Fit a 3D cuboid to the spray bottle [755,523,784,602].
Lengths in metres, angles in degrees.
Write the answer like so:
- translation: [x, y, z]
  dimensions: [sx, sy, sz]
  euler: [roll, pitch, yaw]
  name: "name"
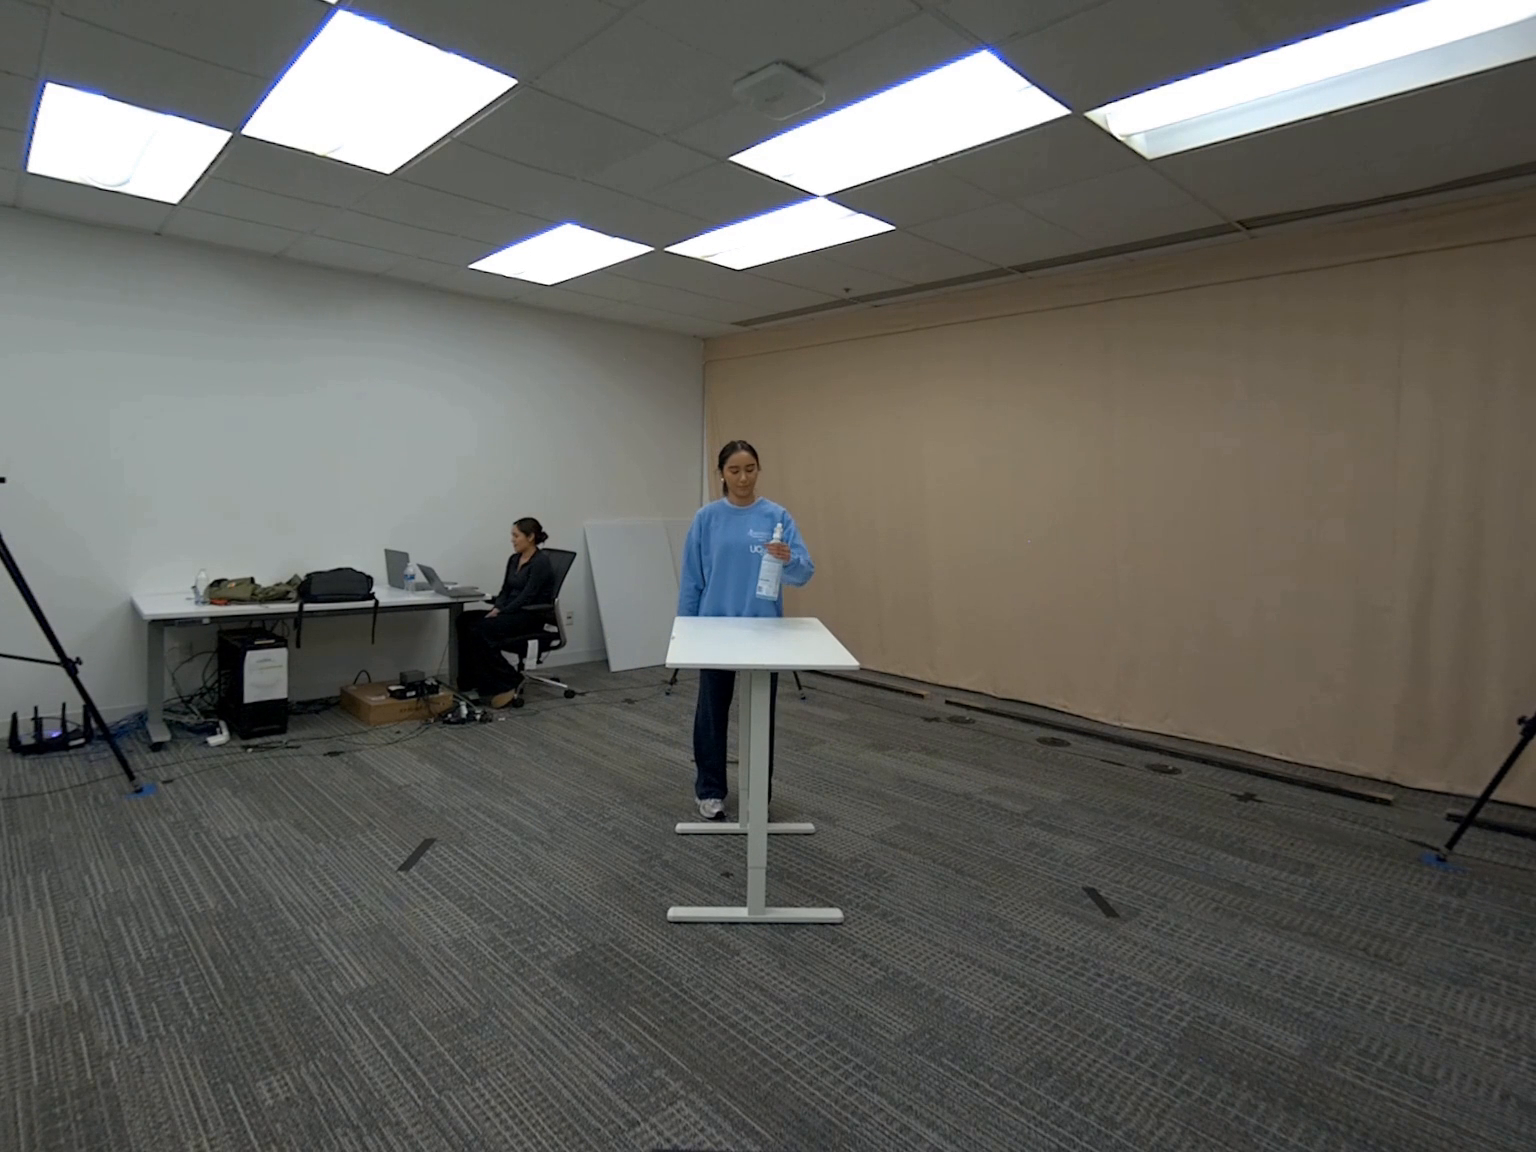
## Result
- translation: [0.005, -0.051, 3.275]
  dimensions: [0.089, 0.297, 0.088]
  euler: [8, 0, 24]
  name: "spray bottle"
